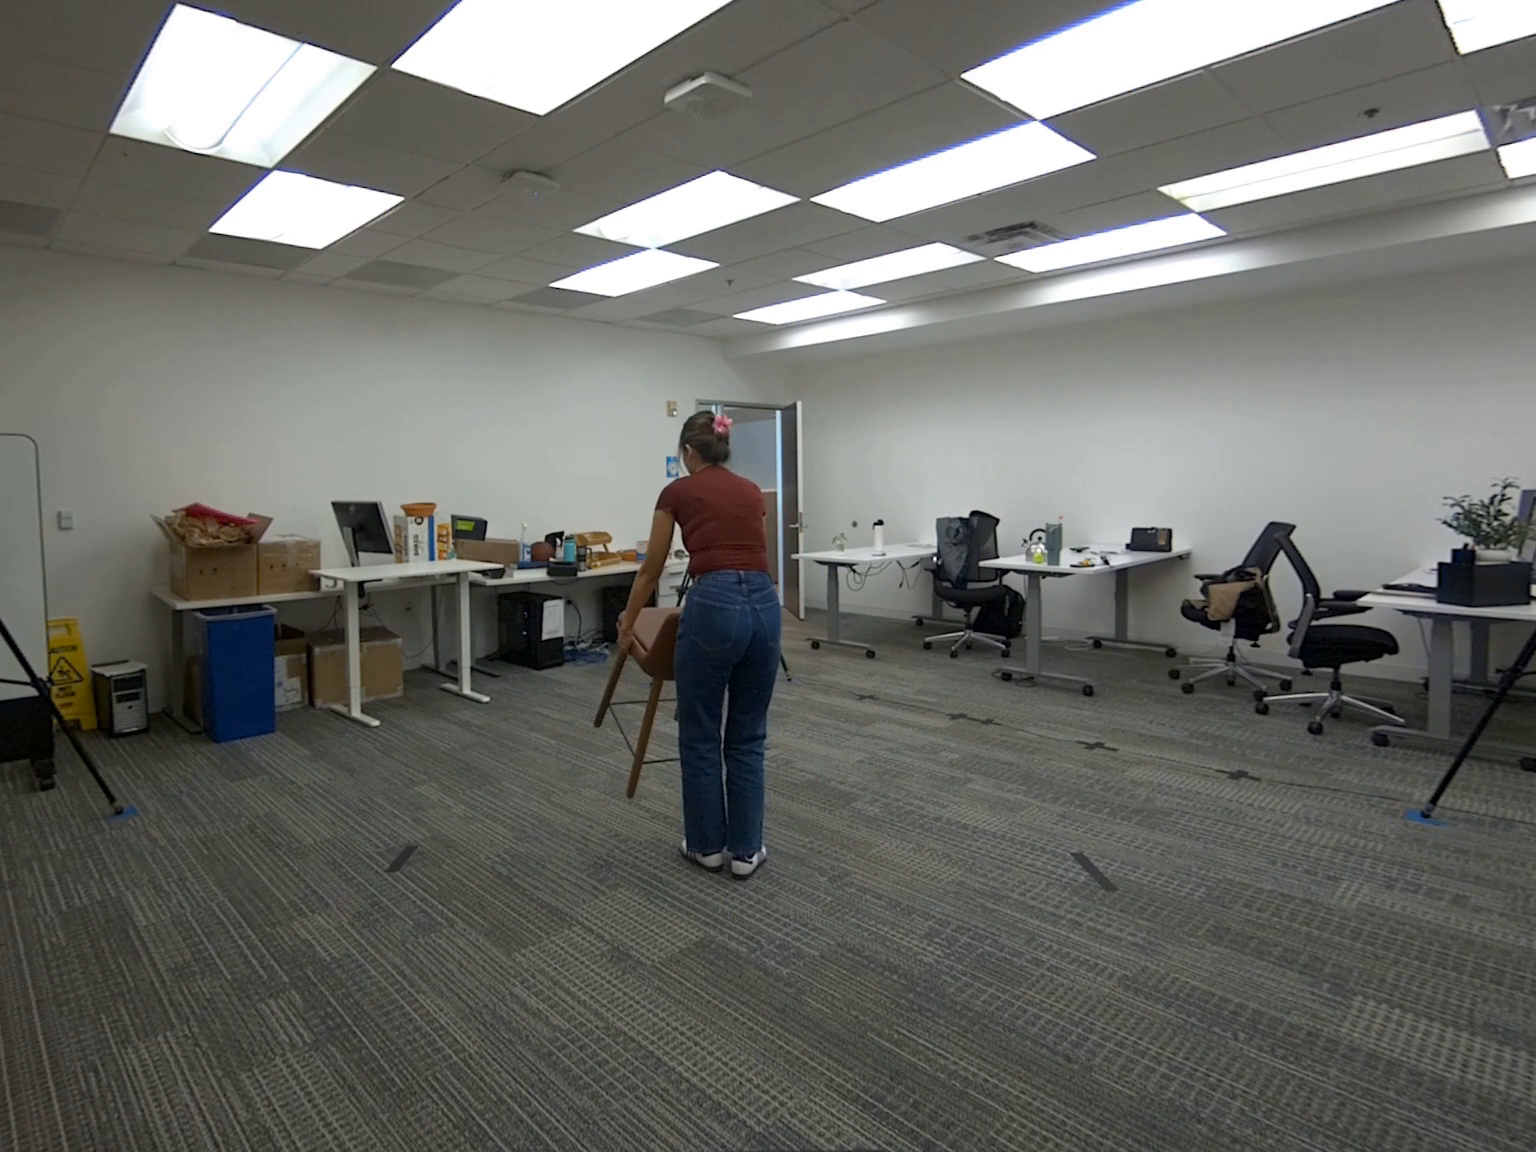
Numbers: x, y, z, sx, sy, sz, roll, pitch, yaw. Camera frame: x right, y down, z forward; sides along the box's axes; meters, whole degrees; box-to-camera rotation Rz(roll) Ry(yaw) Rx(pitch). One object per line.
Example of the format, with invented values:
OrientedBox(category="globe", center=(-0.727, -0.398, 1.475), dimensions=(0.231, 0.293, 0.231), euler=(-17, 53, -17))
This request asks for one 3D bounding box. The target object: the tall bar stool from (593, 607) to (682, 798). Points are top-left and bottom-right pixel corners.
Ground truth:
OrientedBox(category="tall bar stool", center=(-0.372, 0.394, 3.420), dimensions=(0.445, 0.877, 0.486), euler=(1, 31, -28))
